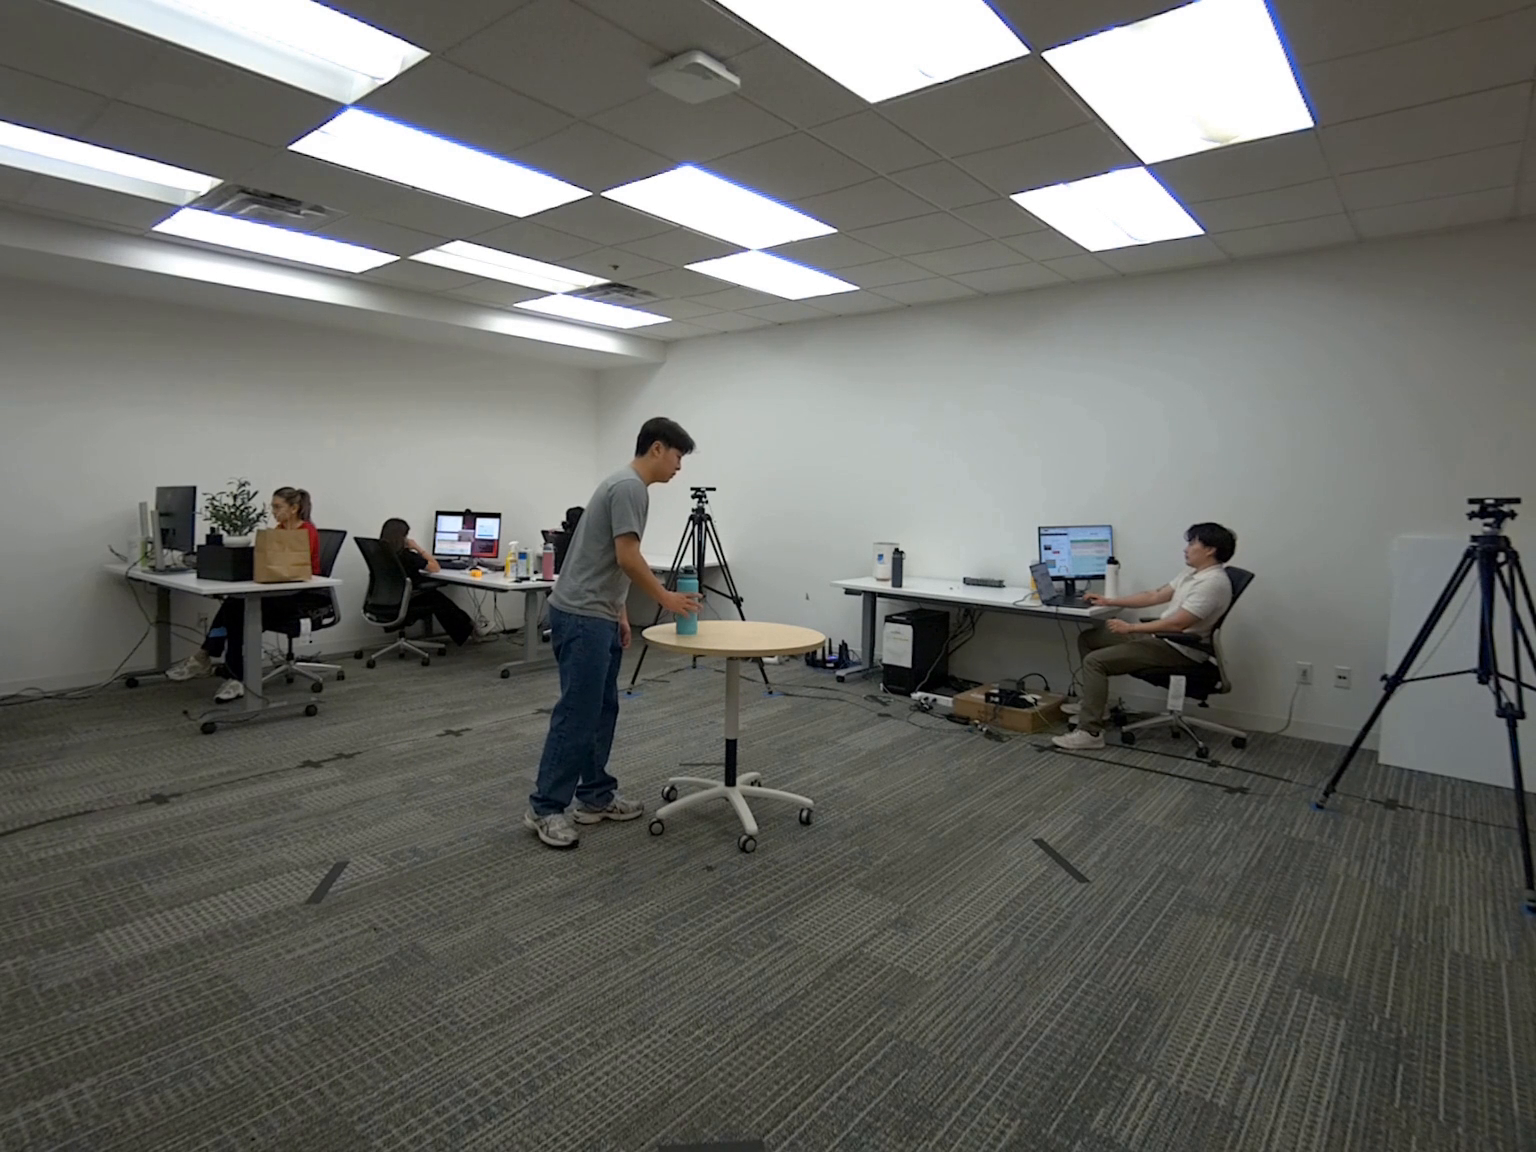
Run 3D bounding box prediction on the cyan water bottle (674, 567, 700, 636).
[{"bbox_3d":[-0.354,0.098,3.565,0.092,0.283,0.092,0,0,-2],"label":"cyan water bottle"}]
